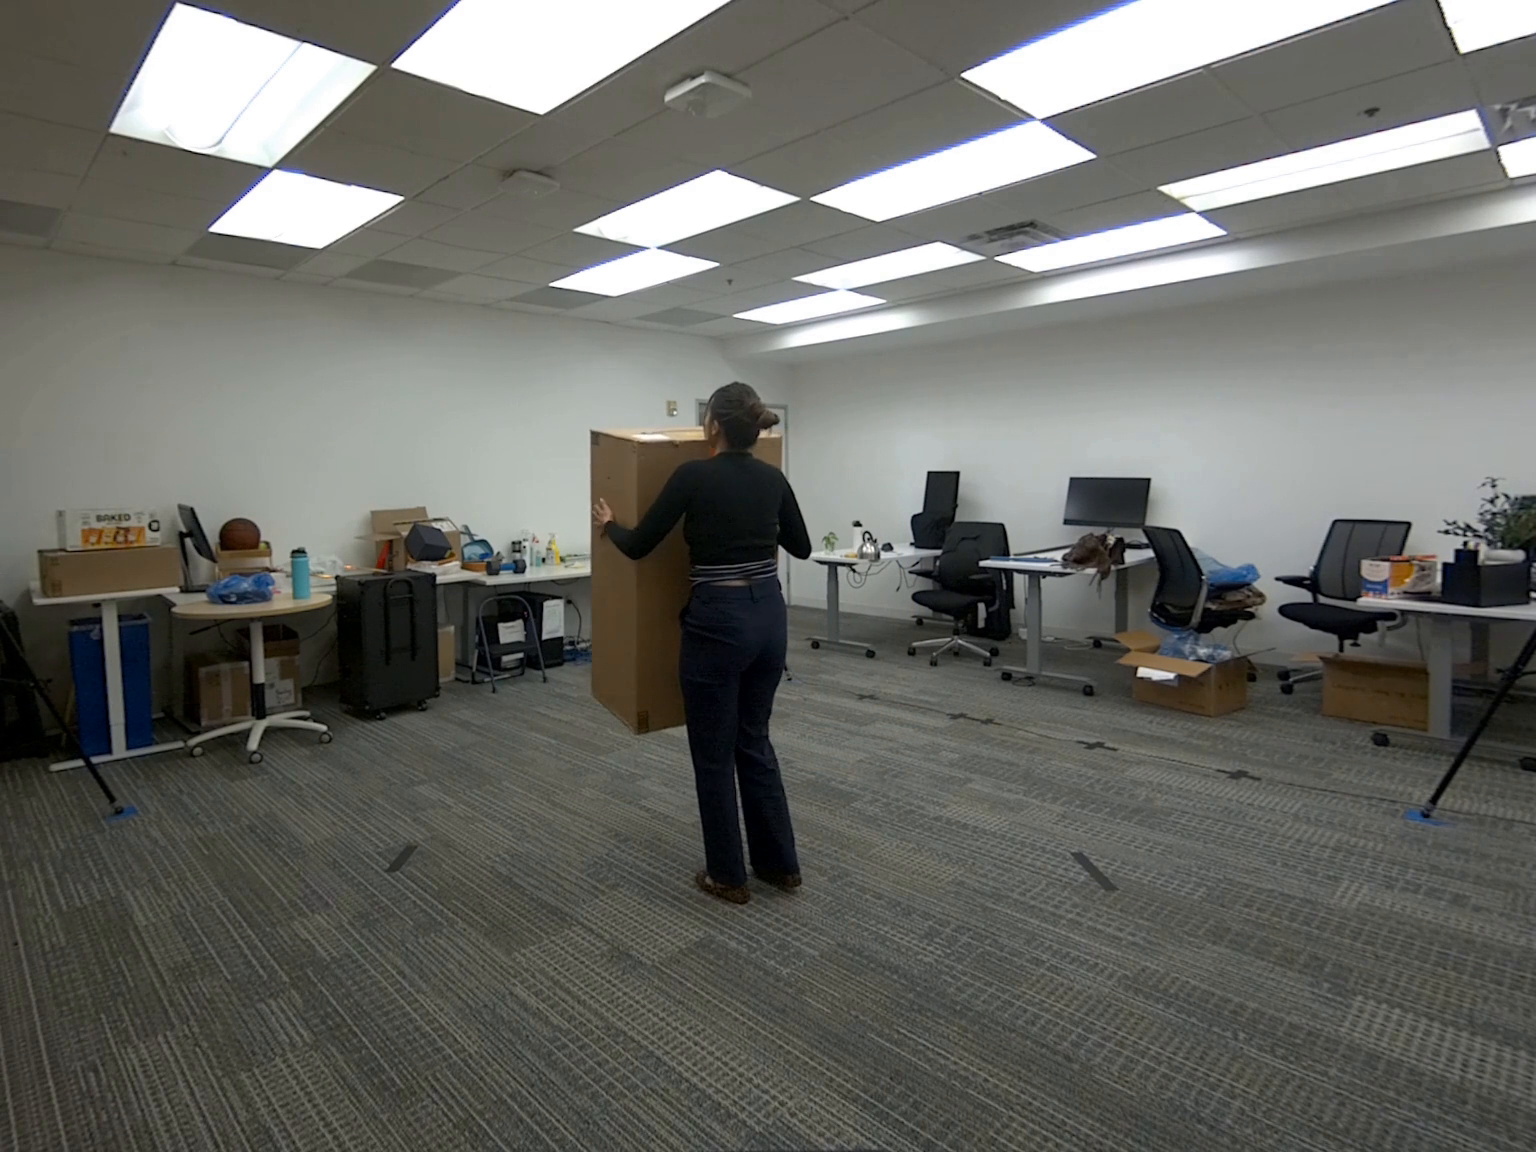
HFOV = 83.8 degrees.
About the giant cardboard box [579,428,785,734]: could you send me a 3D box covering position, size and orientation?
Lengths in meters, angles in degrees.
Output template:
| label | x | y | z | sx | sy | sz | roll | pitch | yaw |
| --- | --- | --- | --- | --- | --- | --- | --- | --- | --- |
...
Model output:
| label | x | y | z | sx | sy | sz | roll | pitch | yaw |
| --- | --- | --- | --- | --- | --- | --- | --- | --- | --- |
| giant cardboard box | -0.315 | -0.018 | 3.176 | 0.564 | 1.015 | 0.440 | -6 | 14 | -31 |
